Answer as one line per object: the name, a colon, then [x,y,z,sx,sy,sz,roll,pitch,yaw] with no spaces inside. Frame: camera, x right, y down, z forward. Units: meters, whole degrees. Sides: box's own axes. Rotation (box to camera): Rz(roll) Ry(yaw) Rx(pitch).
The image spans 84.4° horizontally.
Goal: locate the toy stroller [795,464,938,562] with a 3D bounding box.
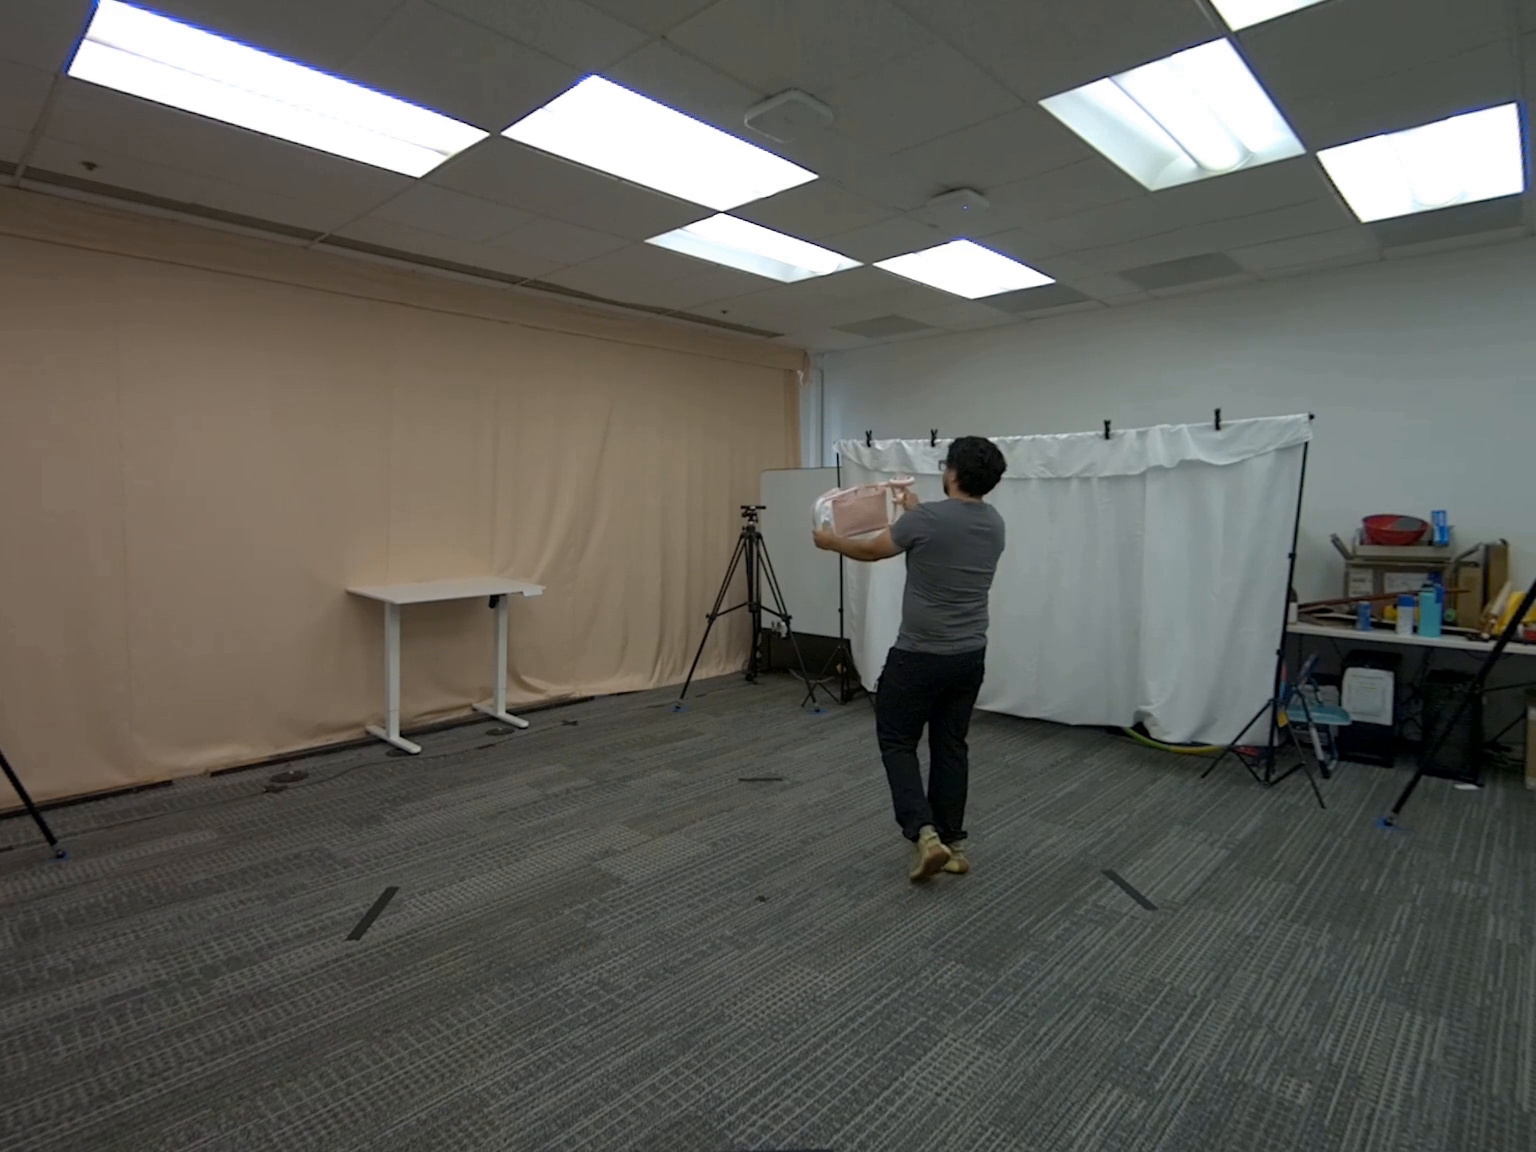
toy stroller: [0.427,-0.287,3.724,0.533,0.278,0.347,-9,17,-4]
